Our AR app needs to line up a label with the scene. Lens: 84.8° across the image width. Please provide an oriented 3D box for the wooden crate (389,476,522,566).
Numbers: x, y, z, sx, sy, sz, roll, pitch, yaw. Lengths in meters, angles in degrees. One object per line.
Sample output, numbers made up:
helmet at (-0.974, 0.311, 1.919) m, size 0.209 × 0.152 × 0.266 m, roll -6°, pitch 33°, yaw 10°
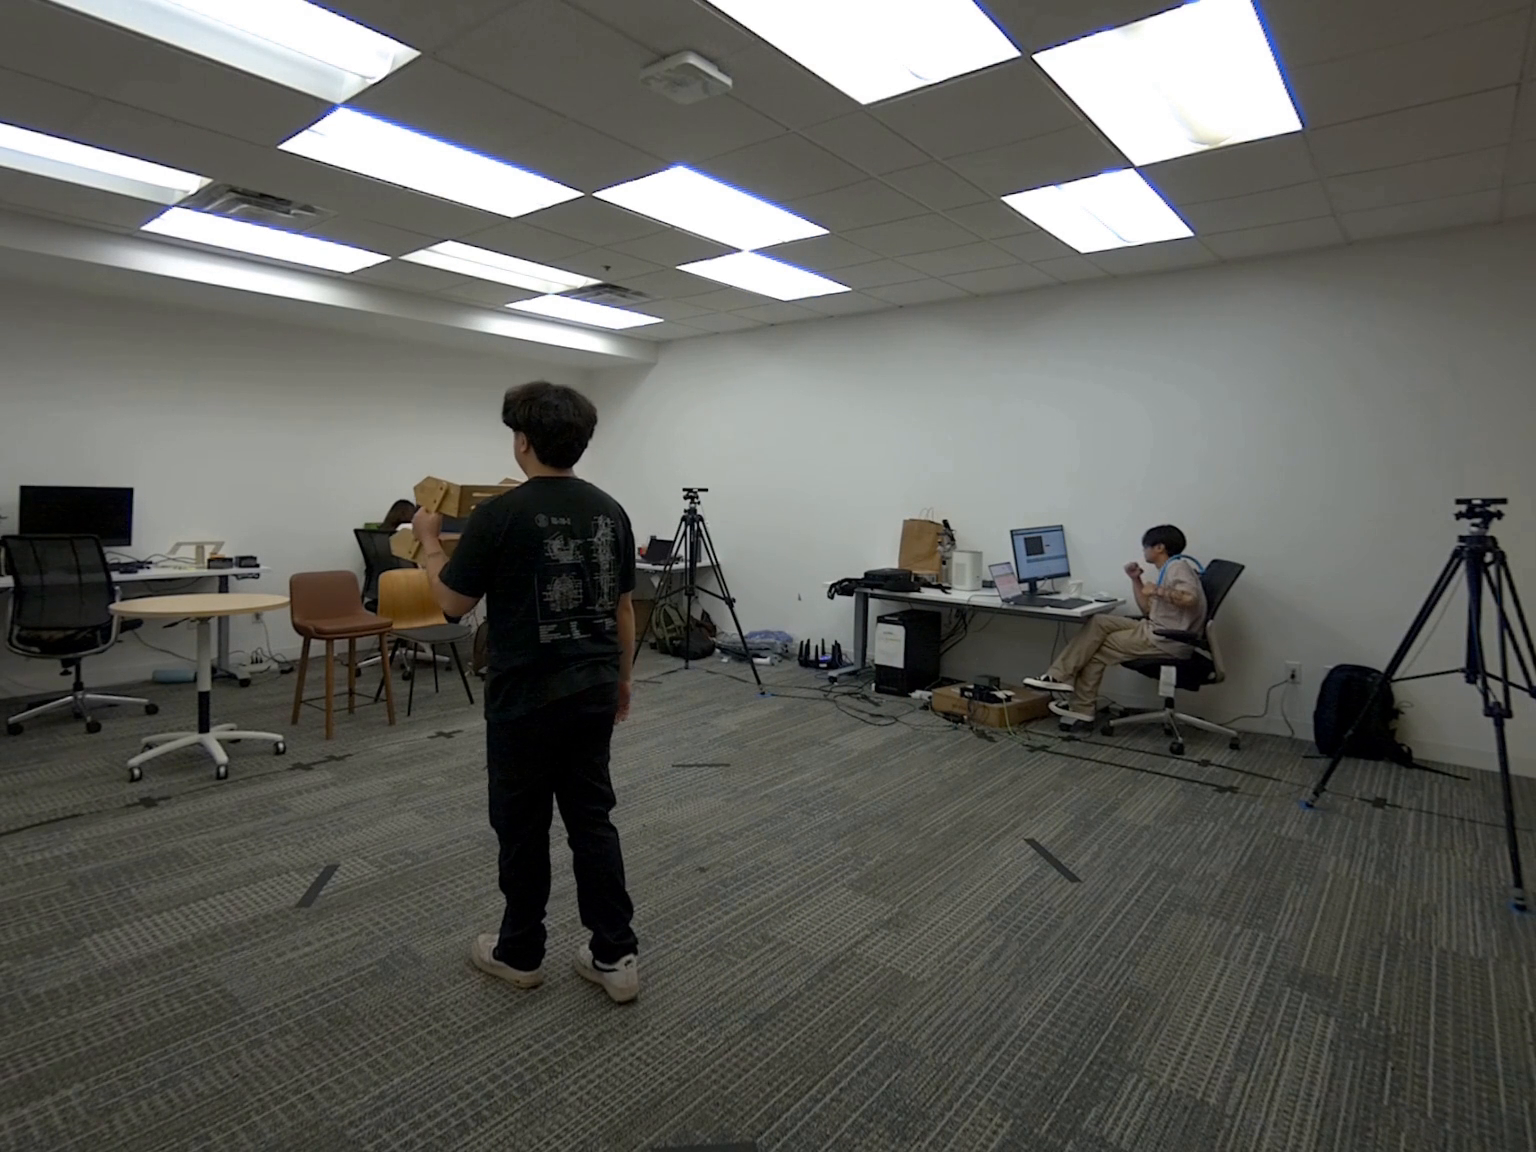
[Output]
wooden crate at (-0.937, -0.178, 2.591) m, size 0.313 × 0.271 × 0.316 m, roll 16°, pitch 12°, yaw 32°
